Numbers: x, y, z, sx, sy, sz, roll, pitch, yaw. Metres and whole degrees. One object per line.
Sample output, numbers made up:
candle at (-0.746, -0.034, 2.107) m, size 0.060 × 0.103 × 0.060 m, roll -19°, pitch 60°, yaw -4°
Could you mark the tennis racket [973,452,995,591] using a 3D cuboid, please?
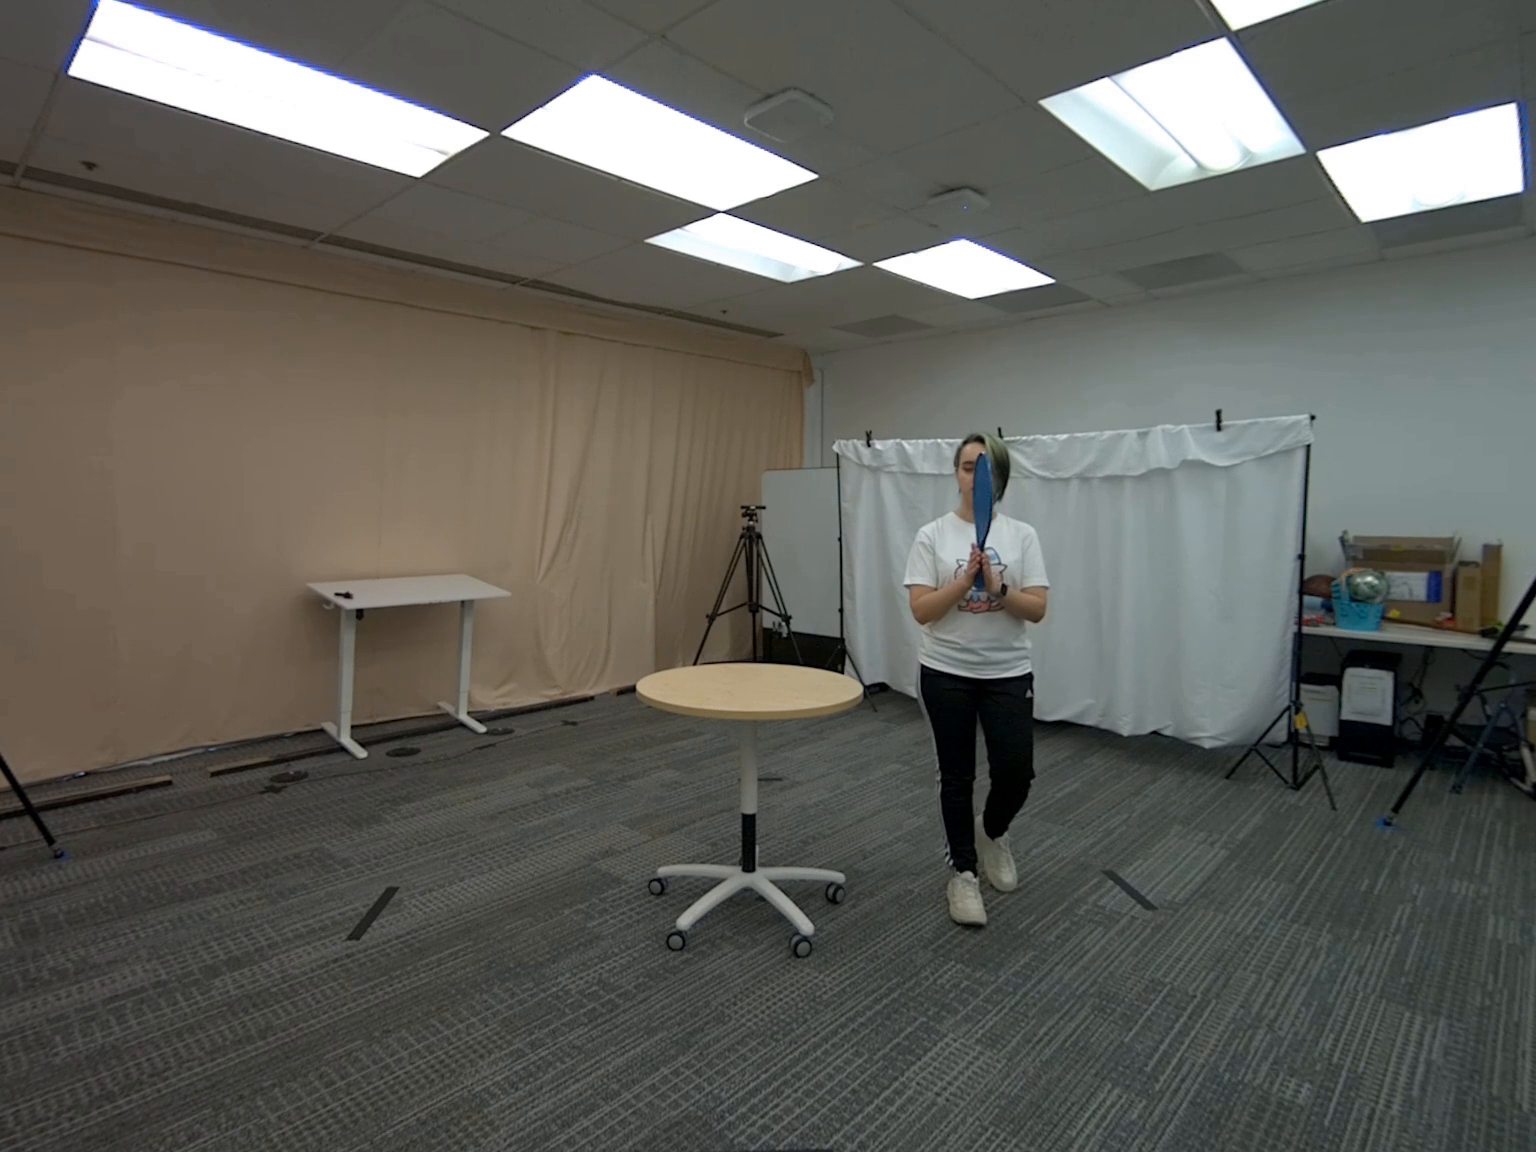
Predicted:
tennis racket at (0.665, -0.163, 2.580) m, size 0.032 × 0.427 × 0.216 m, roll -4°, pitch 20°, yaw 2°
